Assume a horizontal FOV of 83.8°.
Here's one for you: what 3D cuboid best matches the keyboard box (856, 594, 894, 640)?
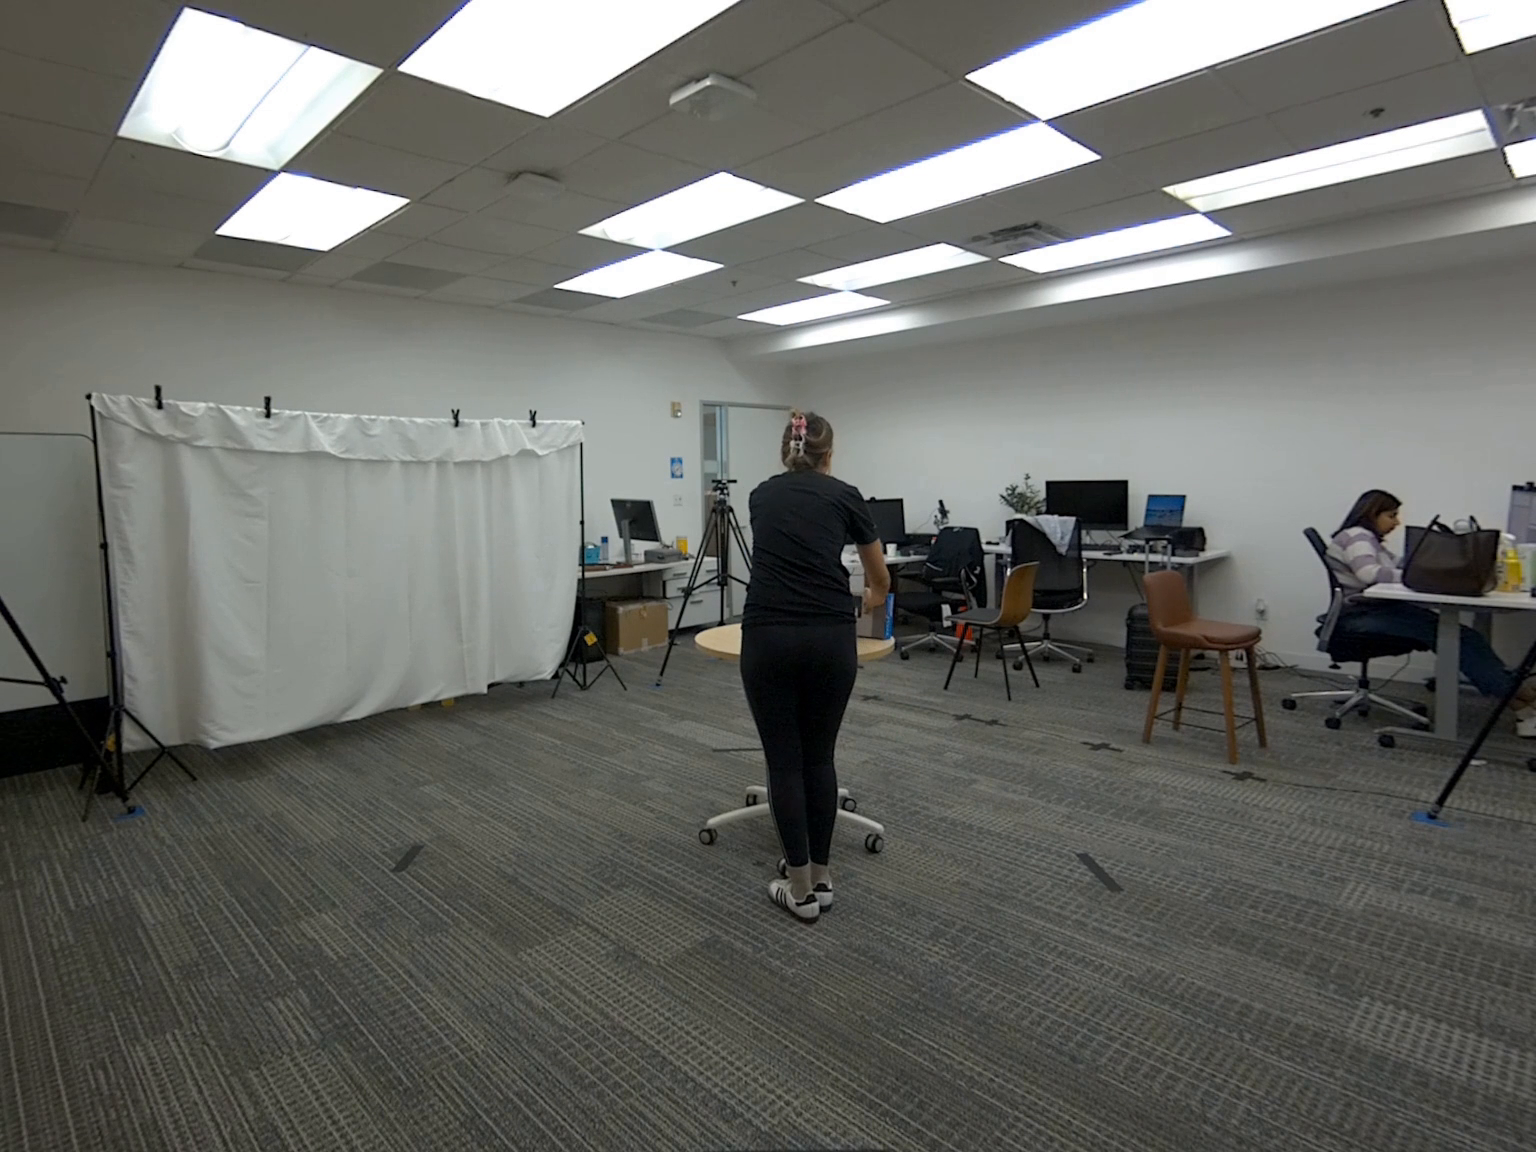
[{"bbox_3d":[0.288,0.144,3.388,0.450,0.176,0.057,4,-1,36],"label":"keyboard box"}]
